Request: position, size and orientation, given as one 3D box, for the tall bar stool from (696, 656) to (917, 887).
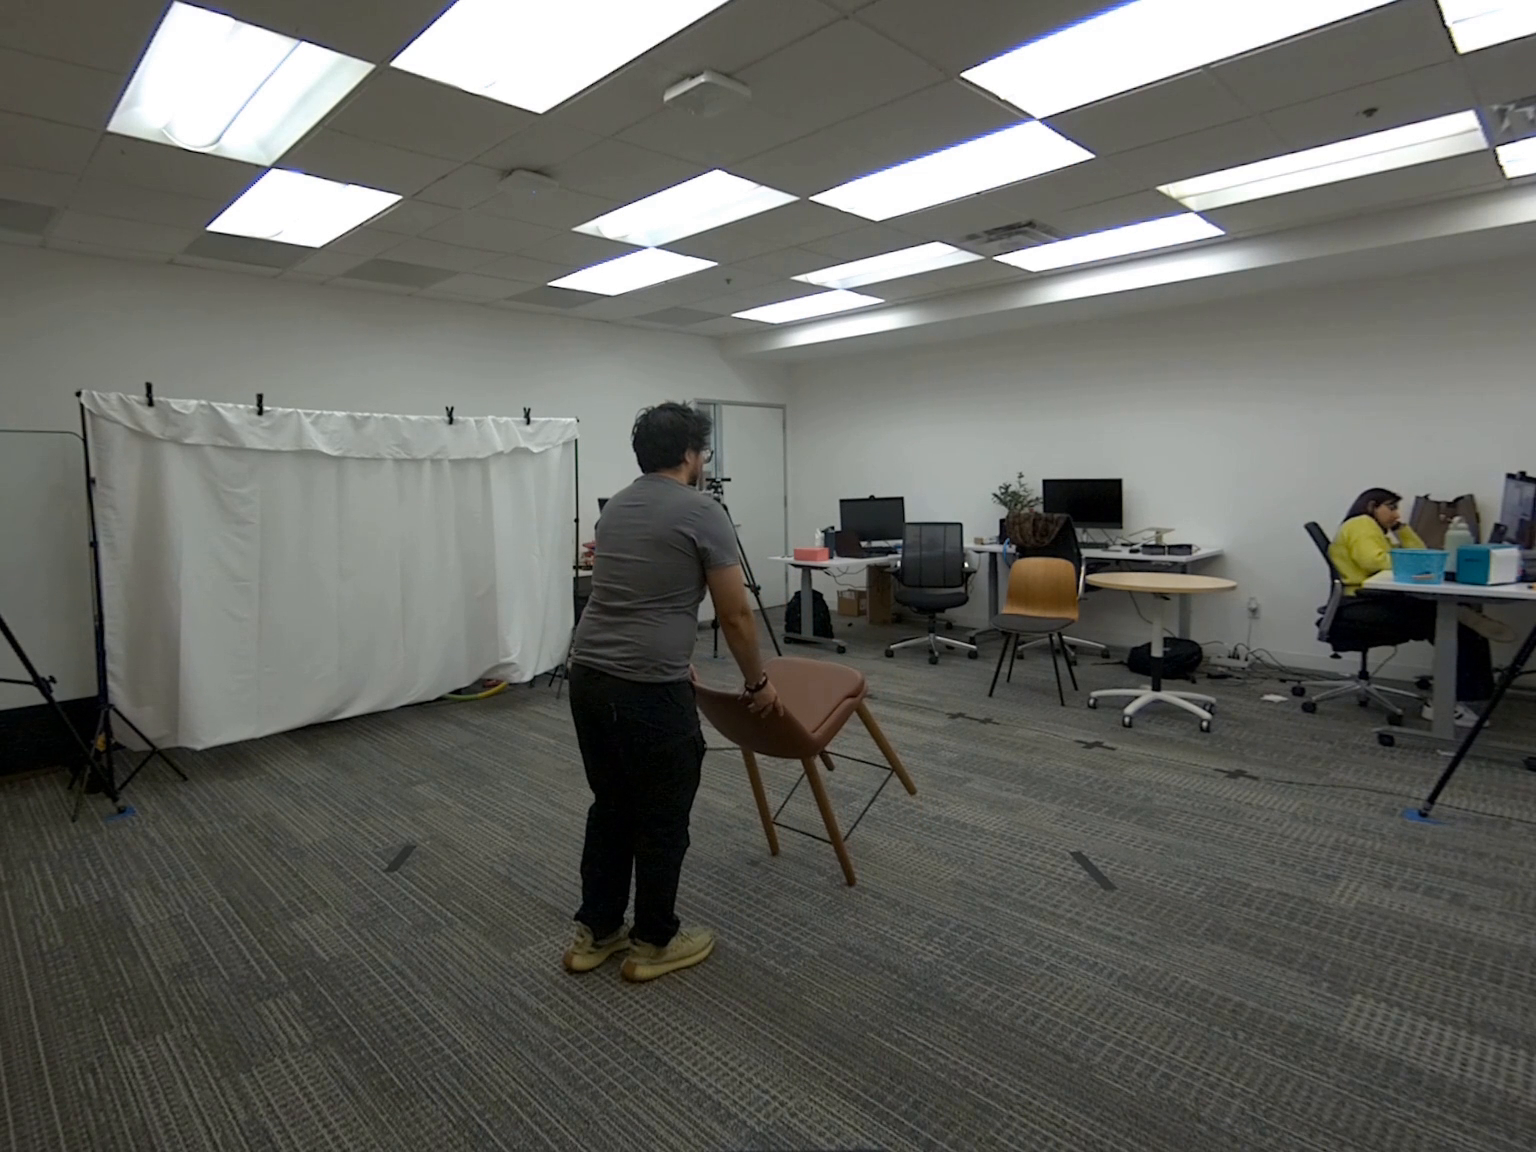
[{"bbox_3d":[0.118,0.569,2.986,0.471,0.863,0.467,4,39,44],"label":"tall bar stool"}]
